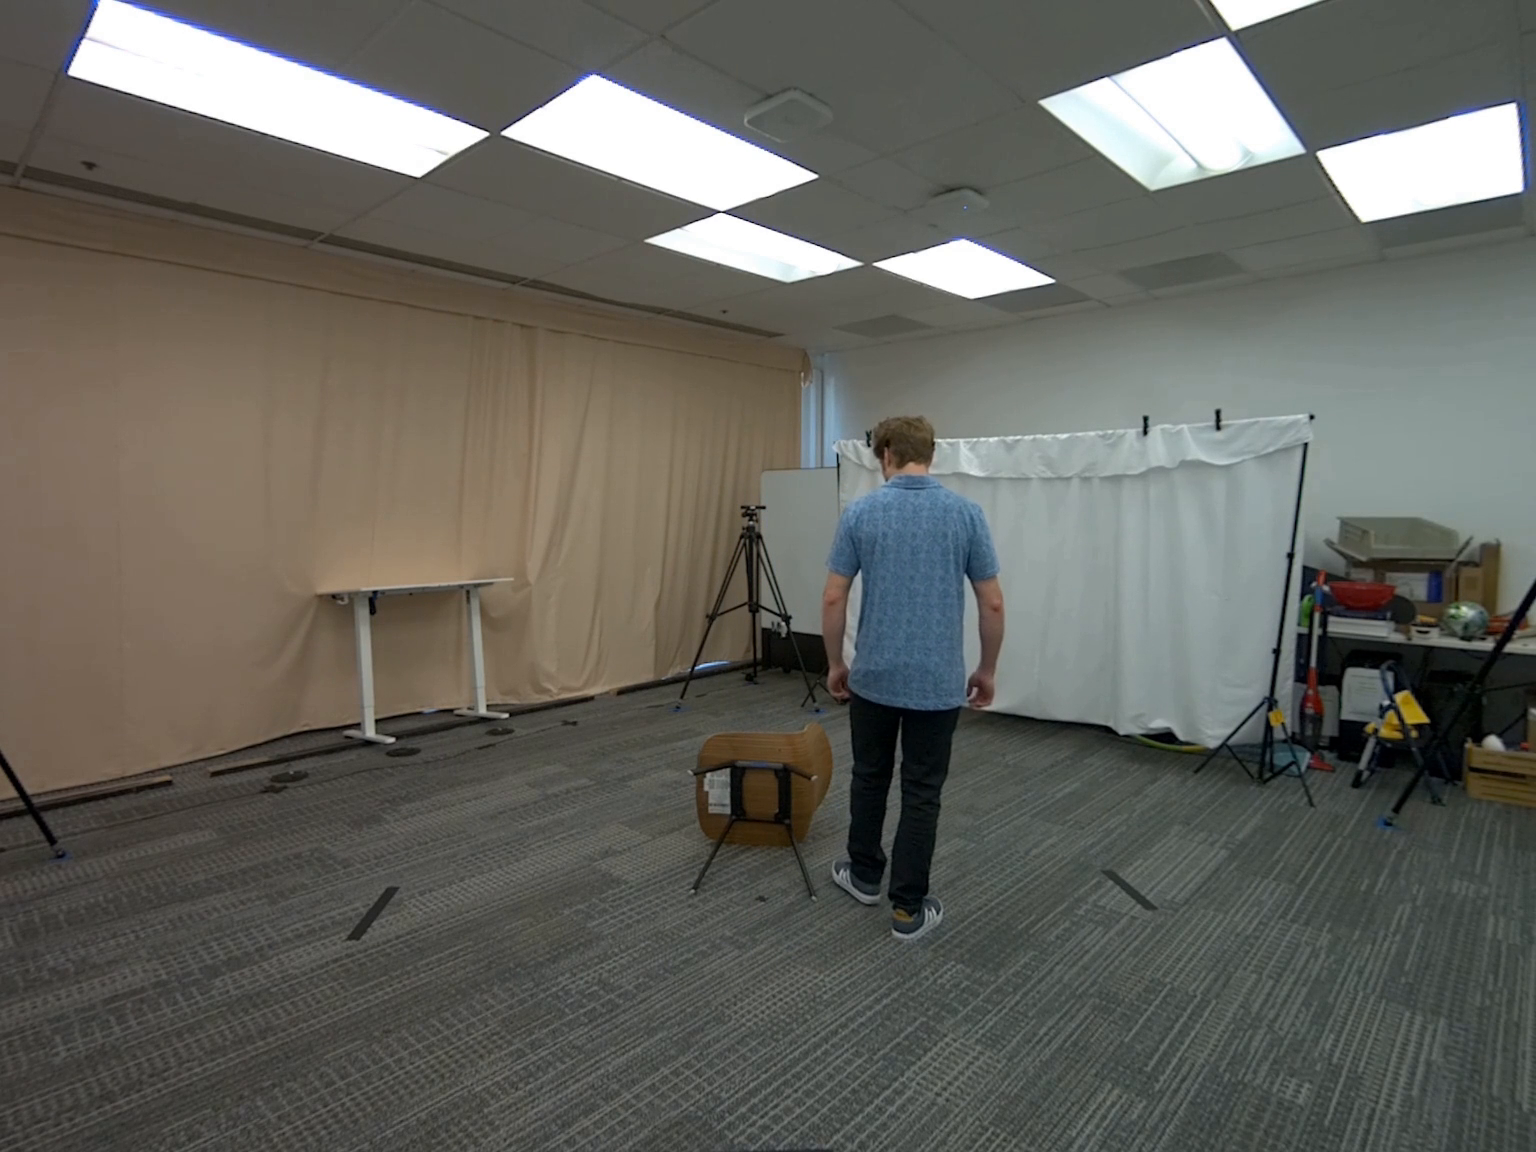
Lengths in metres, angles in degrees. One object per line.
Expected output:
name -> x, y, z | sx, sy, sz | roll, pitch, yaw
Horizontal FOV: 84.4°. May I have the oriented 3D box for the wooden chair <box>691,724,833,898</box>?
wooden chair -> -0.032, 0.878, 3.397 | 0.529, 0.477, 0.870 | 0, 5, 9
